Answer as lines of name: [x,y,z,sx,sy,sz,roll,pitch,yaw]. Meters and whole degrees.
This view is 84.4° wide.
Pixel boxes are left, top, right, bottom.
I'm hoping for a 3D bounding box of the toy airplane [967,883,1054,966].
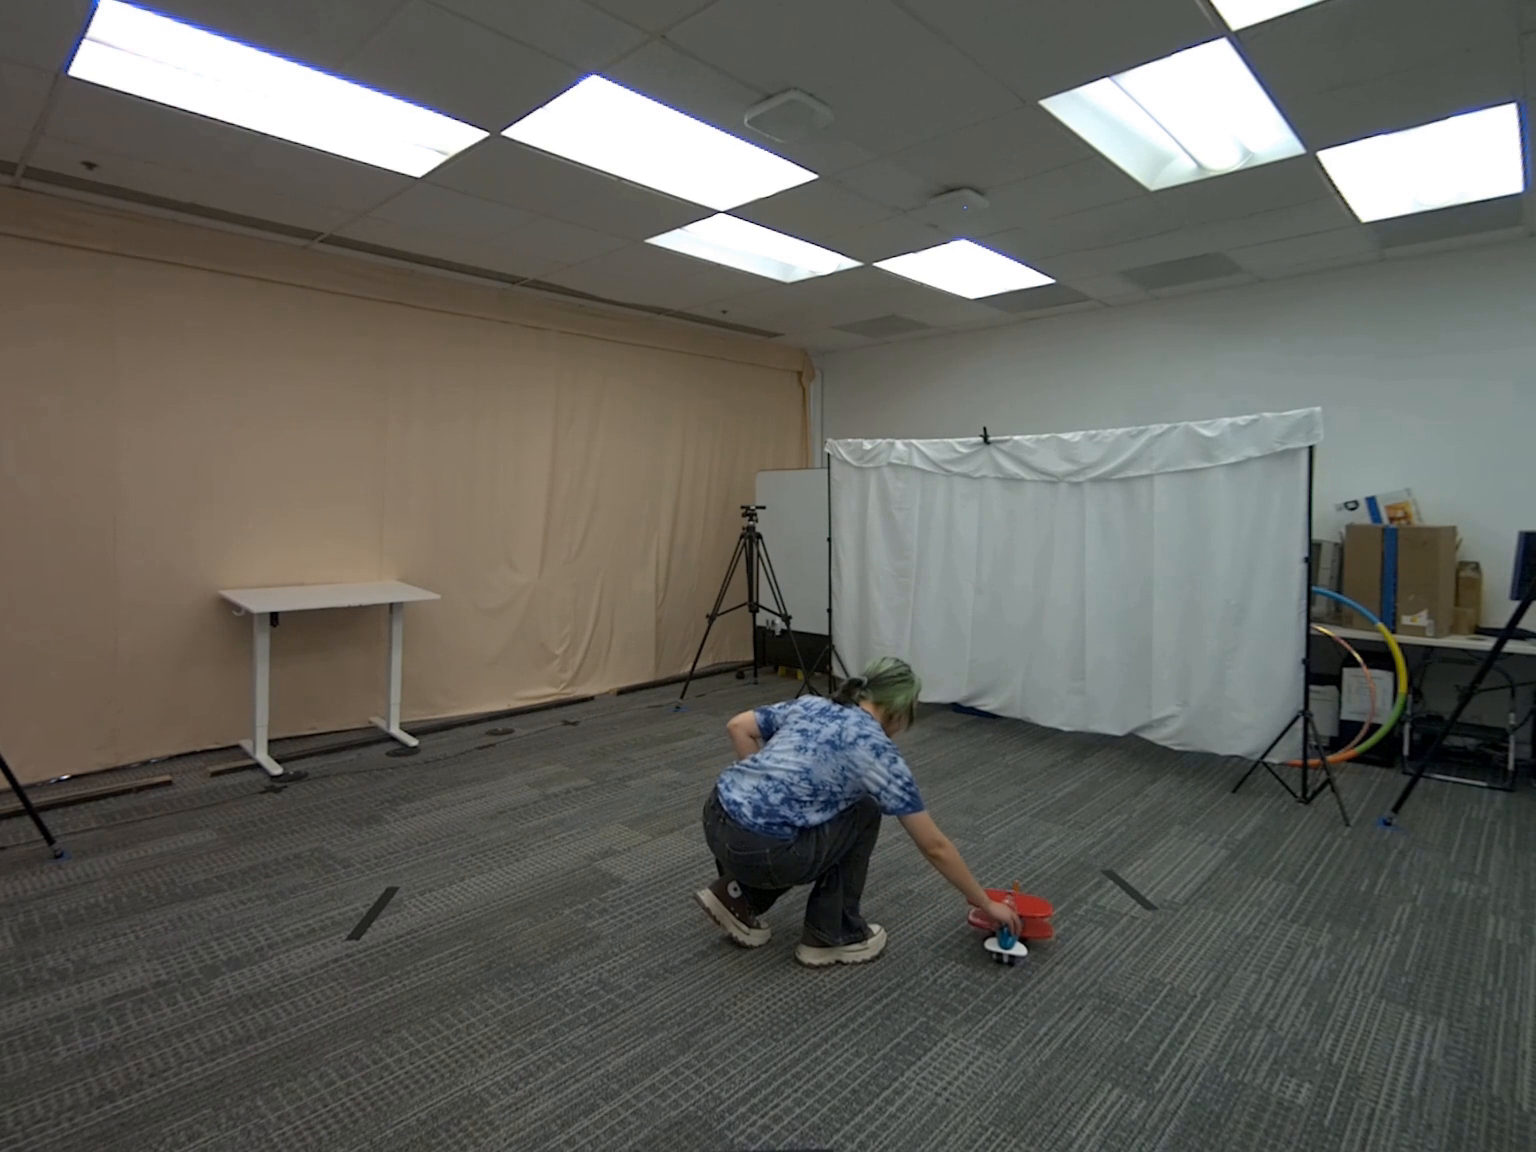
toy airplane: [0.781,1.098,2.629,0.249,0.156,0.261,-1,3,-8]
